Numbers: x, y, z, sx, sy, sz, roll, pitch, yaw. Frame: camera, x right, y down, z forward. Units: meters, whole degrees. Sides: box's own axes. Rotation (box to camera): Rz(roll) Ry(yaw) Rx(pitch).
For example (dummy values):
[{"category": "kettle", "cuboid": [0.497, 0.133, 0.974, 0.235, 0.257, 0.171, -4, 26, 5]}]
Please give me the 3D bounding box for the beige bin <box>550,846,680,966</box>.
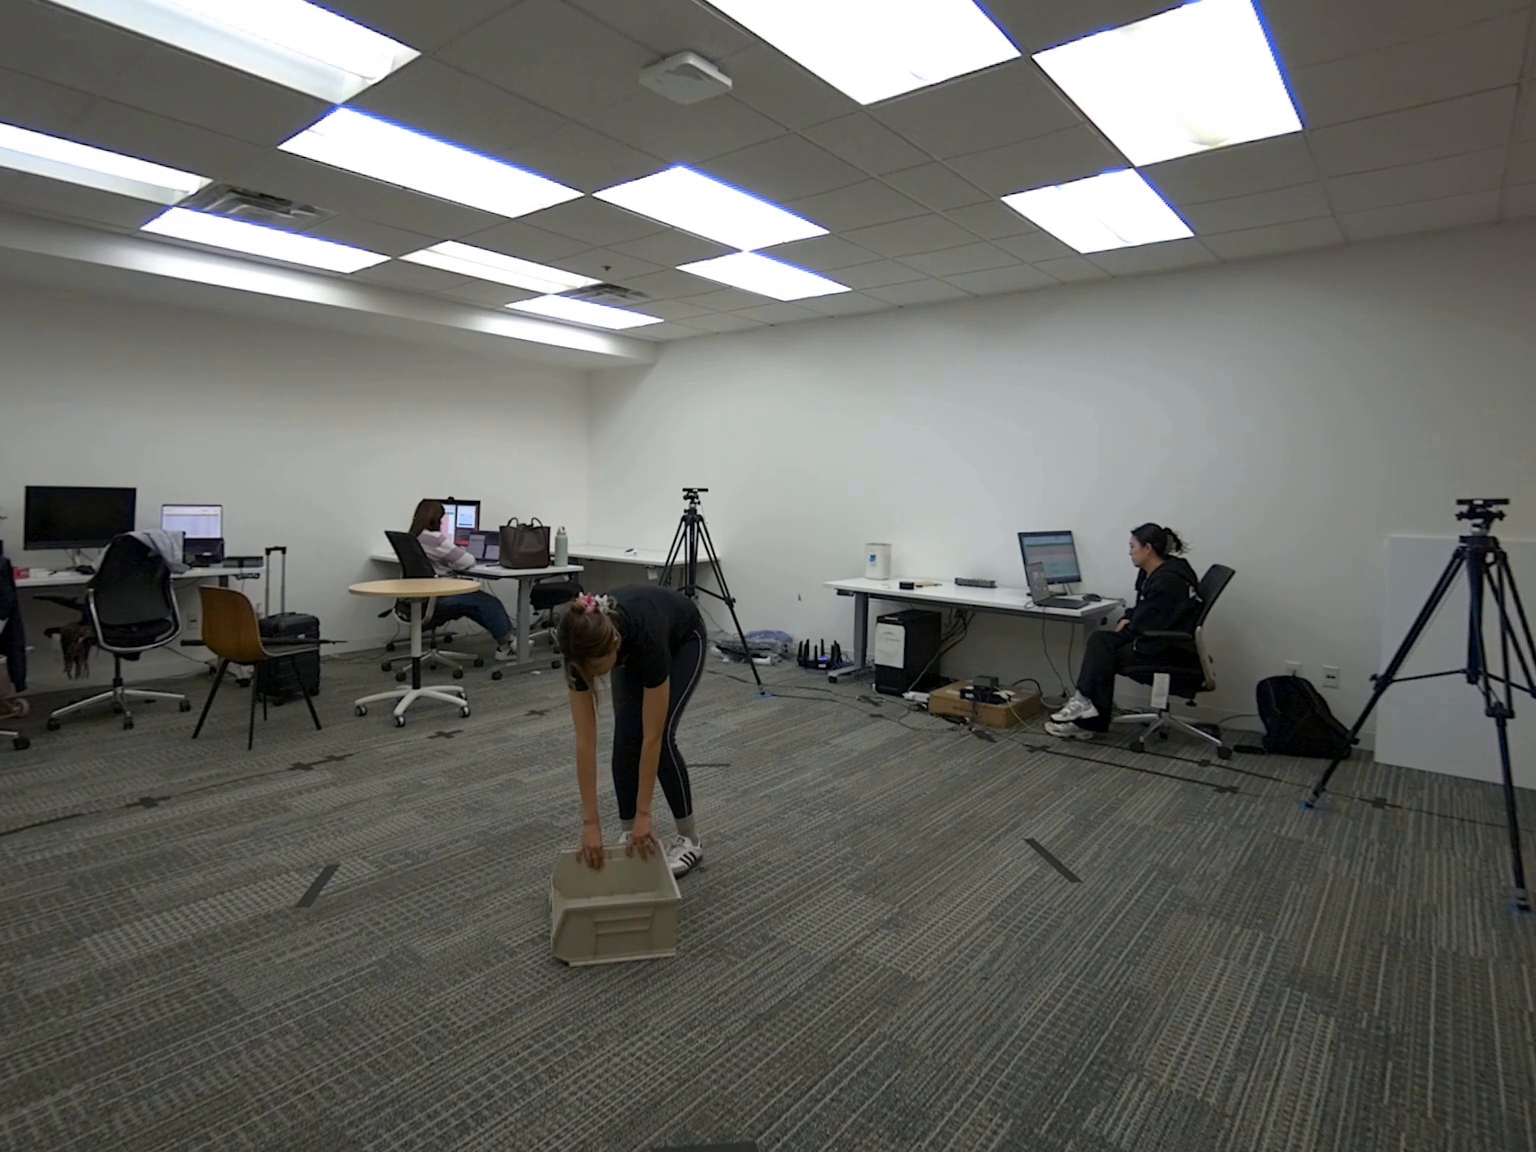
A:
[{"category": "beige bin", "cuboid": [-0.501, 1.017, 2.680, 0.372, 0.188, 0.430, 0, 4, -15]}]
